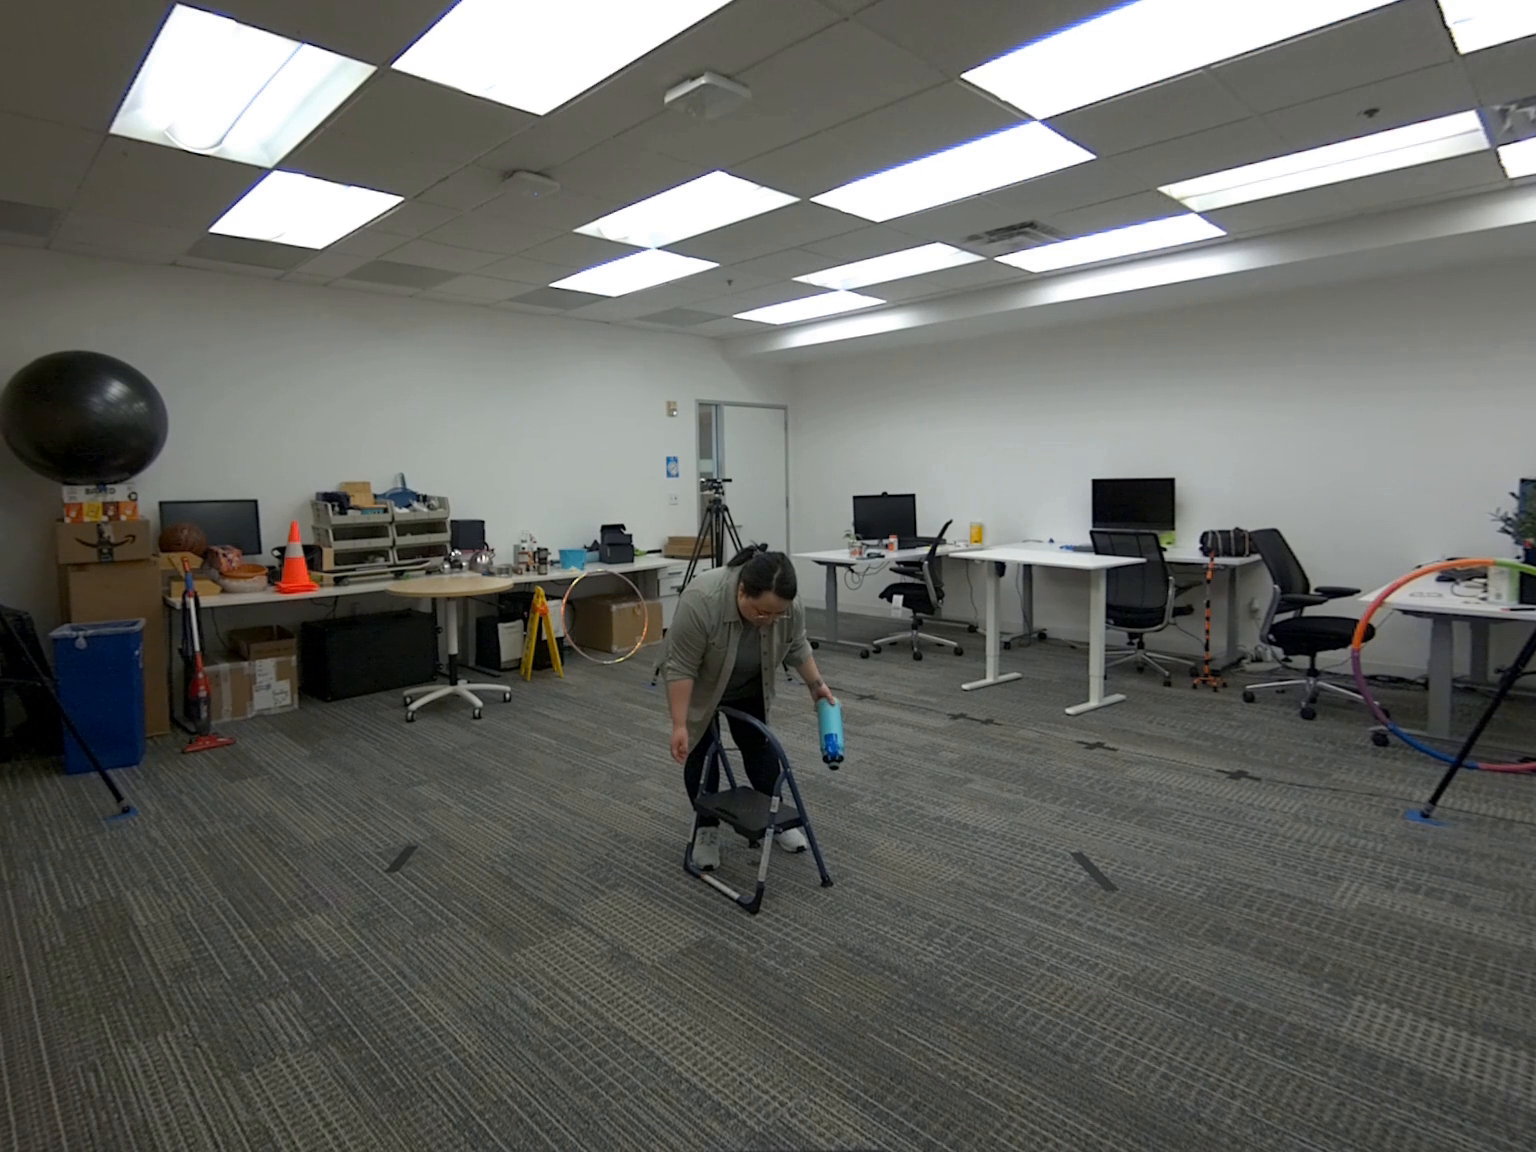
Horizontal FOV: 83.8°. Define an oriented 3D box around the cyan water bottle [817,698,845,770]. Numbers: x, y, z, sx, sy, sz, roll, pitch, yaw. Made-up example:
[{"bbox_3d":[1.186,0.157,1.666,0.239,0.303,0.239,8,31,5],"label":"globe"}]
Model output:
[{"bbox_3d":[0.218,0.592,3.151,0.092,0.090,0.291,-1,40,1],"label":"cyan water bottle"}]
